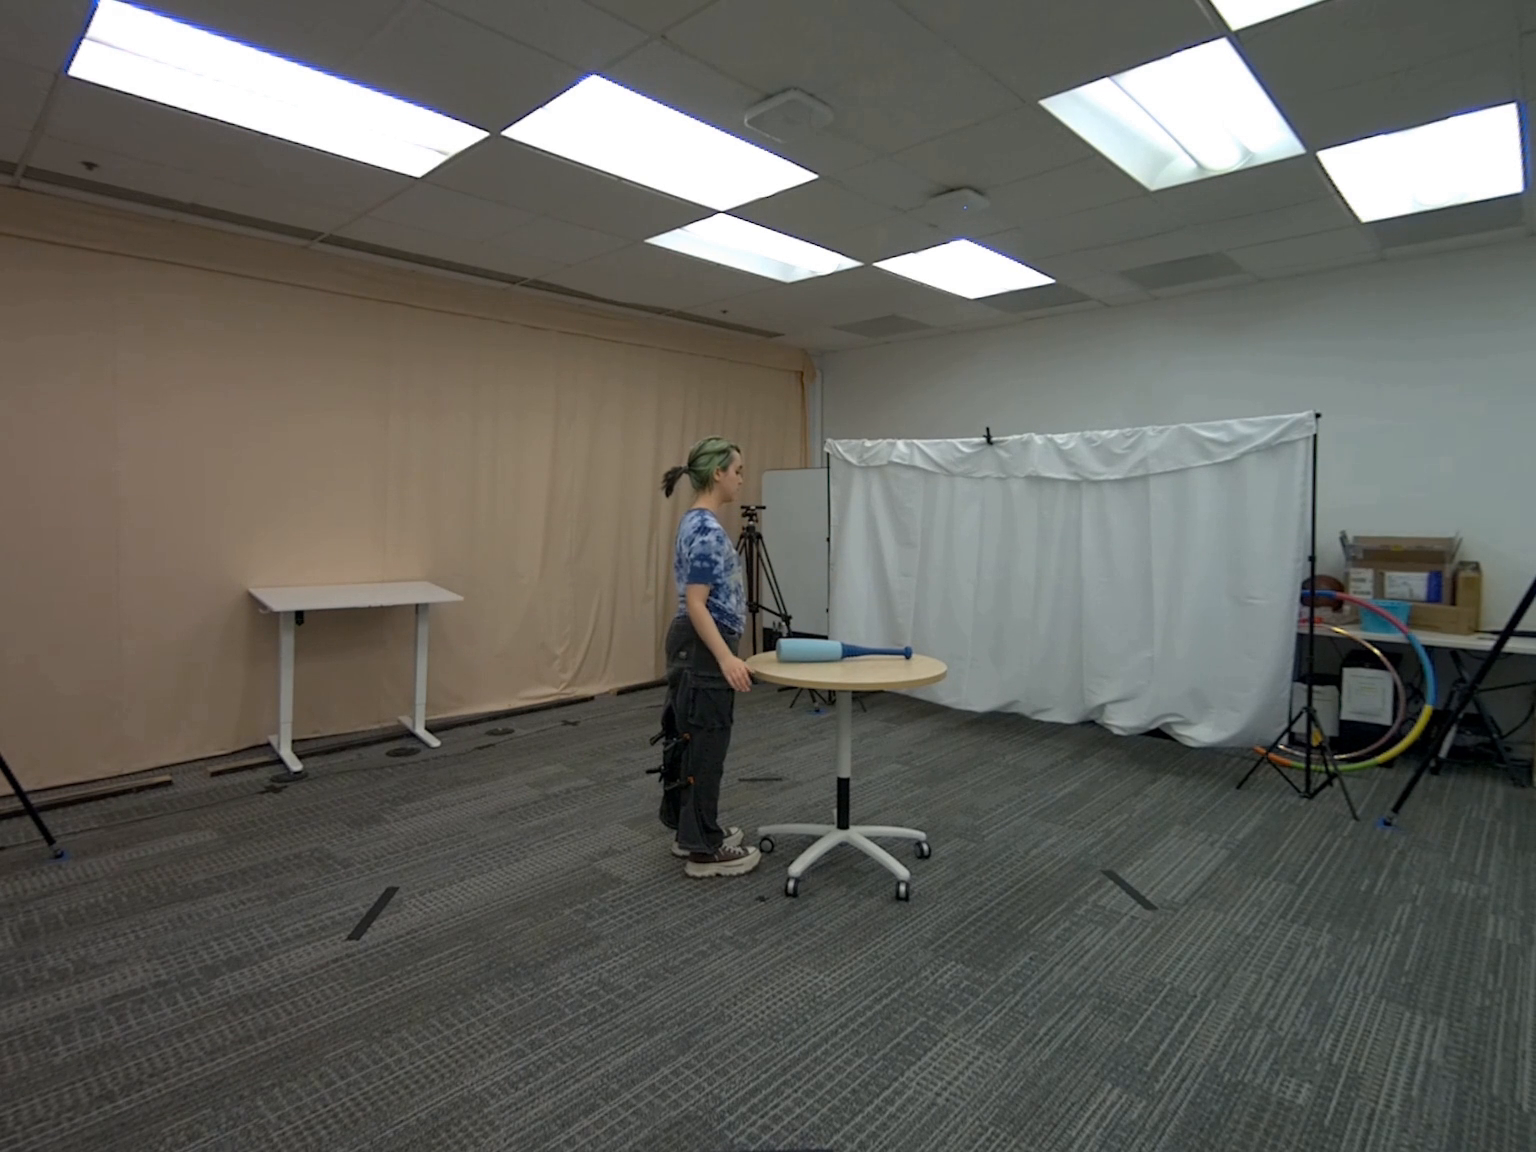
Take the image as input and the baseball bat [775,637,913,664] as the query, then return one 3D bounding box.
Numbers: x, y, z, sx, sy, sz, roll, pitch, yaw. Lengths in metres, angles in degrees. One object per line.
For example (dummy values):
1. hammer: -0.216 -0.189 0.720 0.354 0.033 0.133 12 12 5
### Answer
1. baseball bat: 0.302 0.297 3.283 0.537 0.089 0.090 1 3 -9
